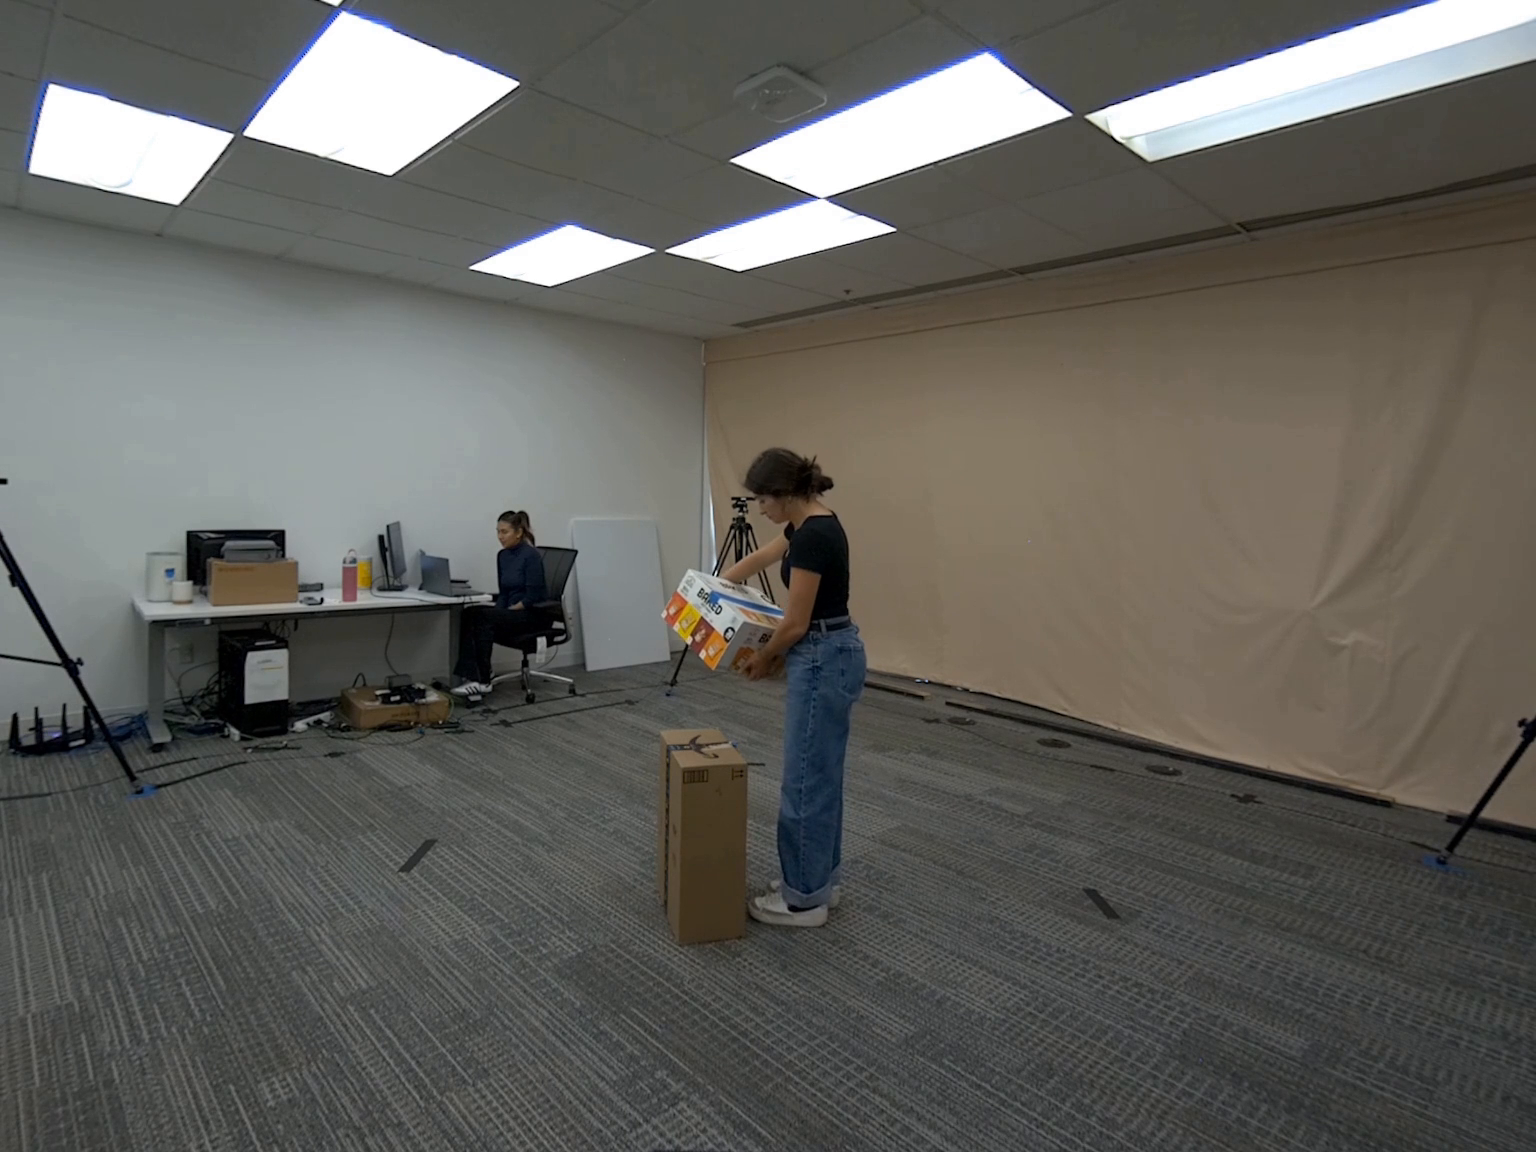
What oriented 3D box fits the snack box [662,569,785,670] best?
[{"bbox_3d":[-0.111,0.187,3.012,0.393,0.205,0.351,19,17,-48],"label":"snack box"}]
